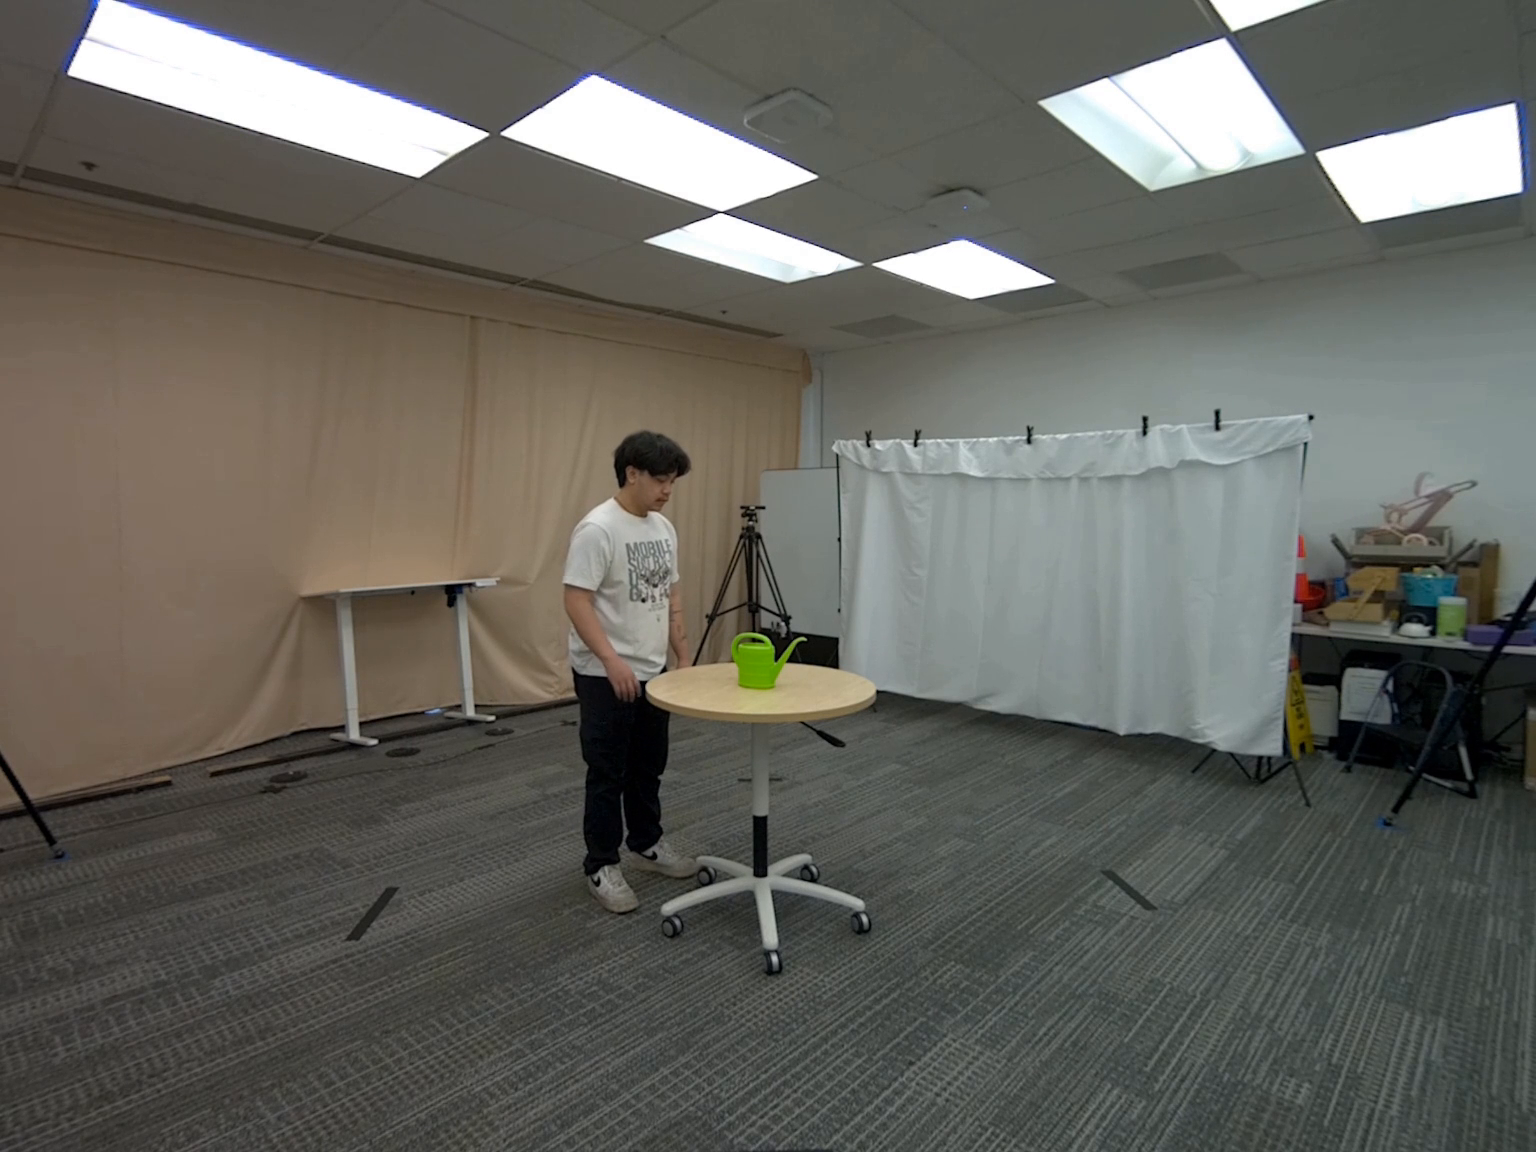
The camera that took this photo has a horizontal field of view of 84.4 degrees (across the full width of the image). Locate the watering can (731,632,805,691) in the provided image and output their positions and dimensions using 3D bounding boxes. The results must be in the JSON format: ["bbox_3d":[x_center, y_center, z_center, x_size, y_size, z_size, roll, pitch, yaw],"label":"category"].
[{"bbox_3d":[0.005,0.286,2.761,0.287,0.176,0.095,2,5,42],"label":"watering can"}]
